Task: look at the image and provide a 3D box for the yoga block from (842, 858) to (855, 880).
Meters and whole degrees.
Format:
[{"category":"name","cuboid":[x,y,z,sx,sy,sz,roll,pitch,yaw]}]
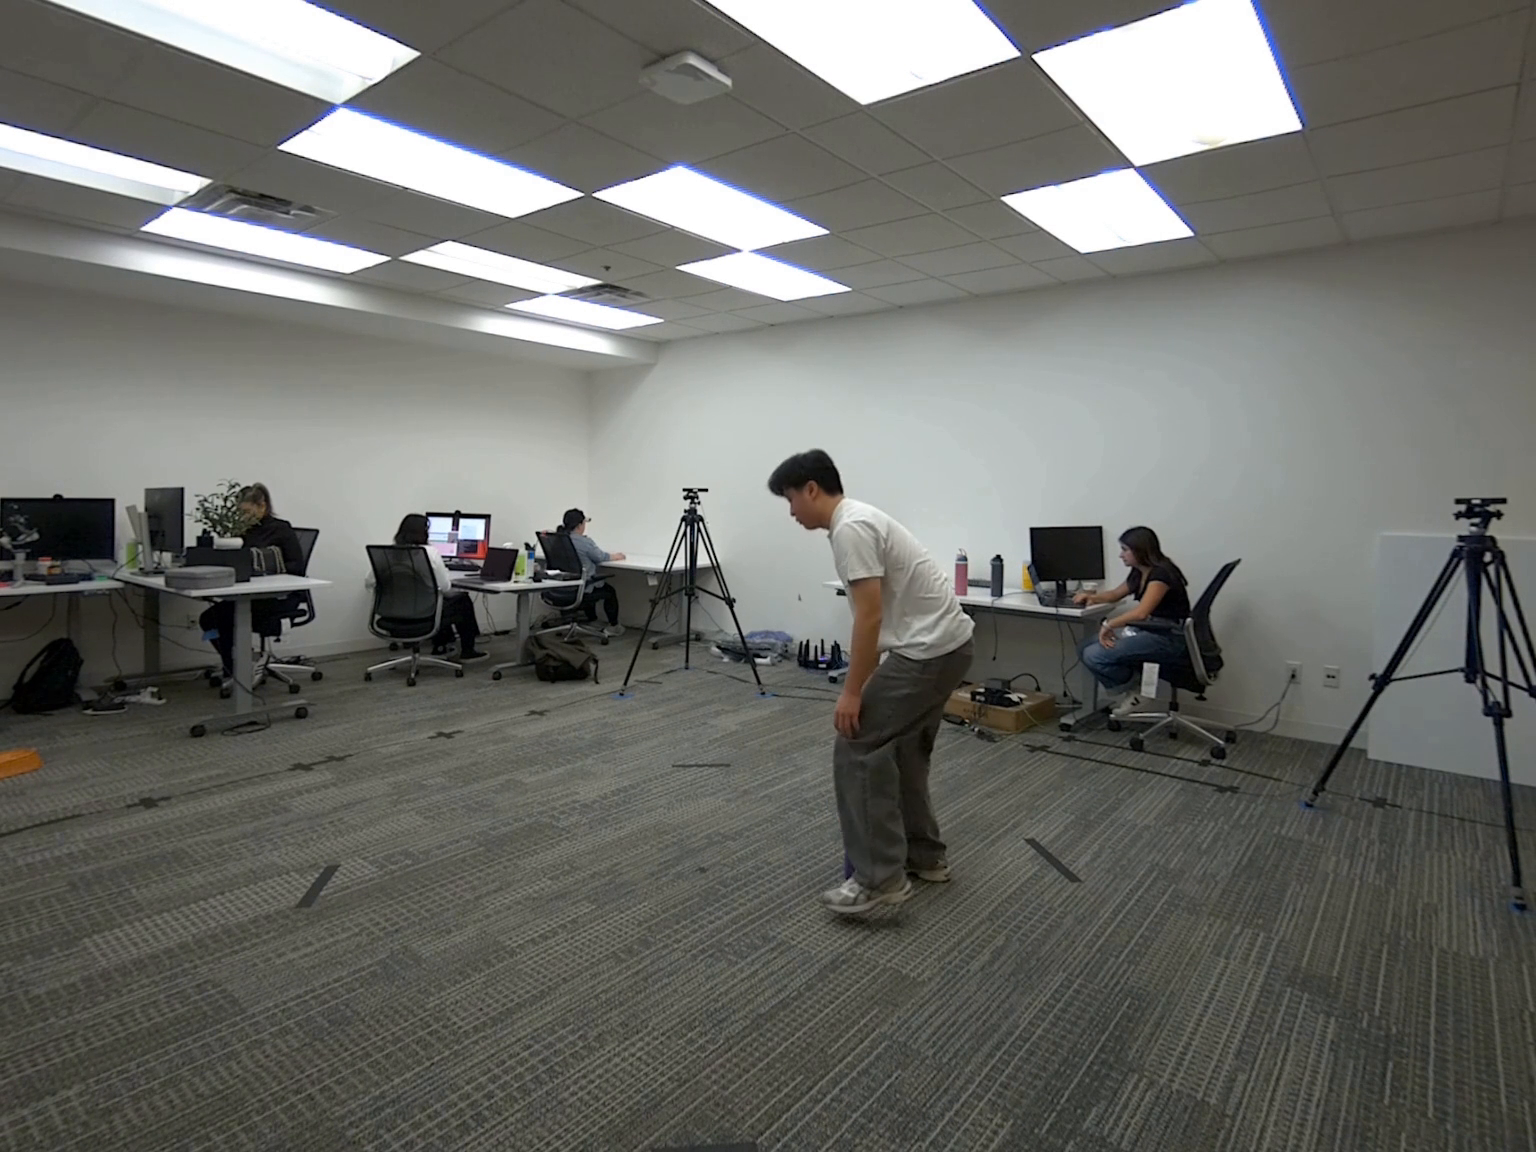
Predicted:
[{"category":"yoga block","cuboid":[0.325,0.957,3.100,0.077,0.228,0.148,-3,4,6]}]
